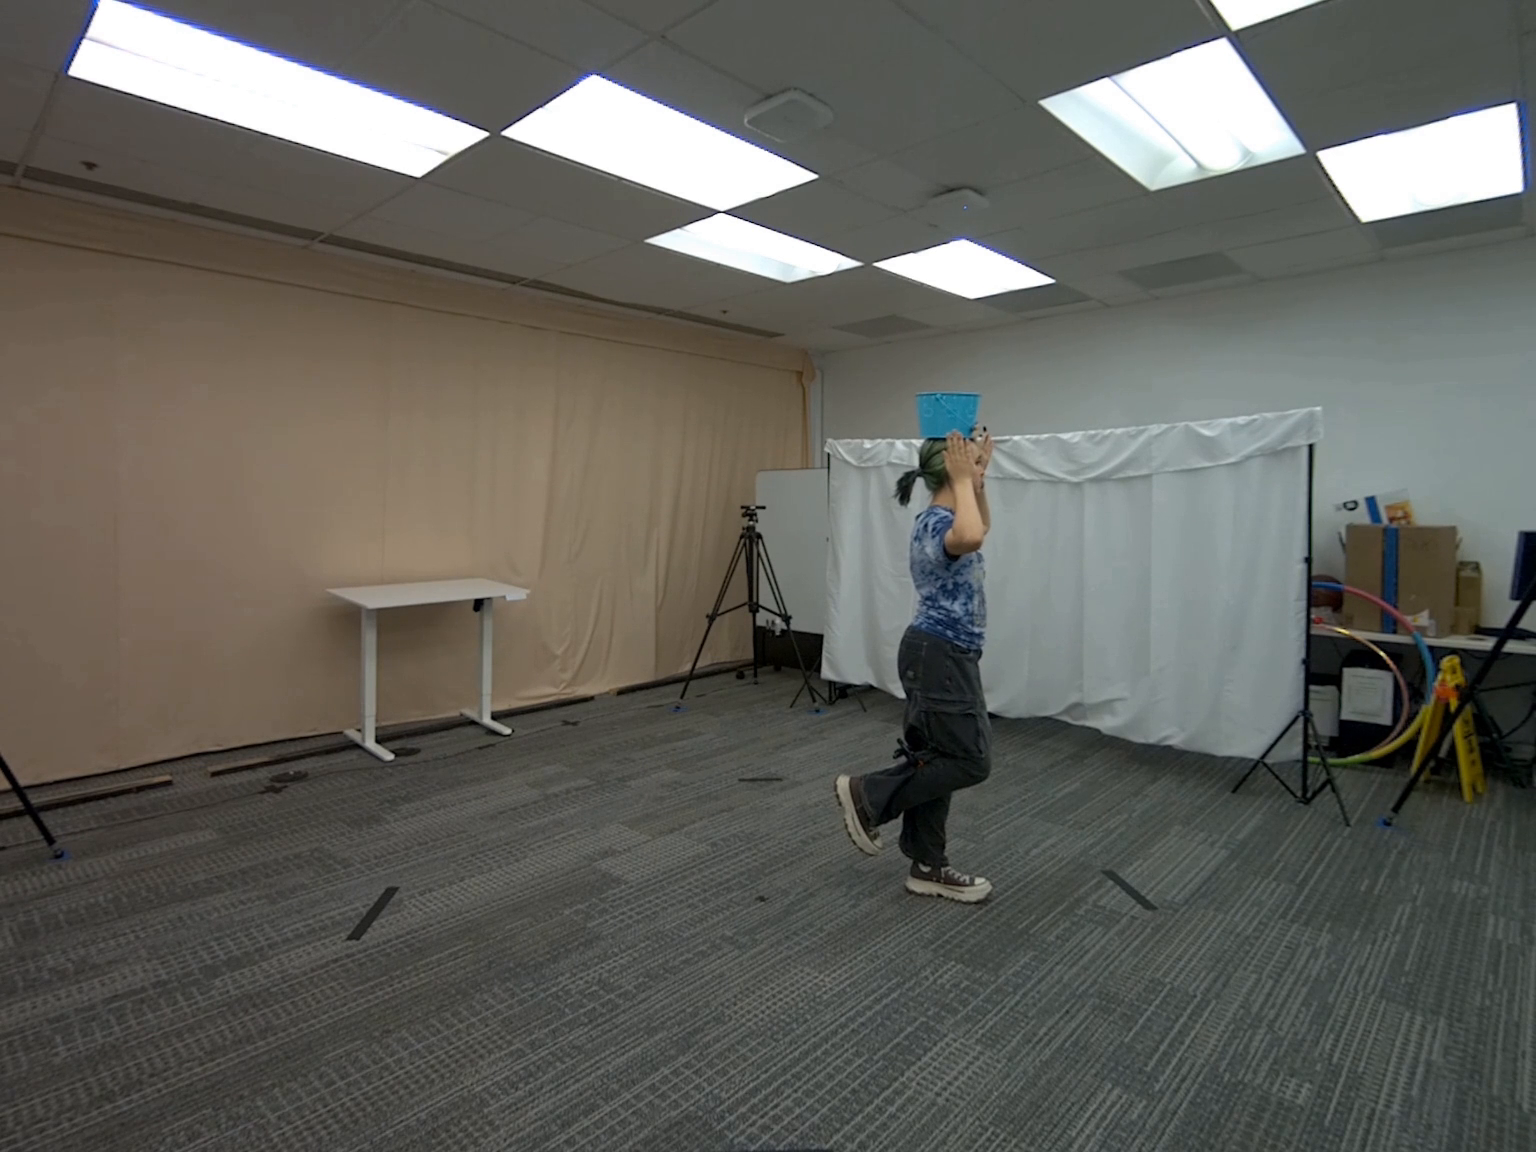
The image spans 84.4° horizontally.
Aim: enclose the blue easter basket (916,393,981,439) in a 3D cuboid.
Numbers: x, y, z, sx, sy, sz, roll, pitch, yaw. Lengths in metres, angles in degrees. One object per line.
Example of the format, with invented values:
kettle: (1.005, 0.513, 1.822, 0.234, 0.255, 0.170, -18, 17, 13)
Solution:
blue easter basket: (0.643, -0.564, 2.984, 0.243, 0.155, 0.245, 0, 8, -2)
